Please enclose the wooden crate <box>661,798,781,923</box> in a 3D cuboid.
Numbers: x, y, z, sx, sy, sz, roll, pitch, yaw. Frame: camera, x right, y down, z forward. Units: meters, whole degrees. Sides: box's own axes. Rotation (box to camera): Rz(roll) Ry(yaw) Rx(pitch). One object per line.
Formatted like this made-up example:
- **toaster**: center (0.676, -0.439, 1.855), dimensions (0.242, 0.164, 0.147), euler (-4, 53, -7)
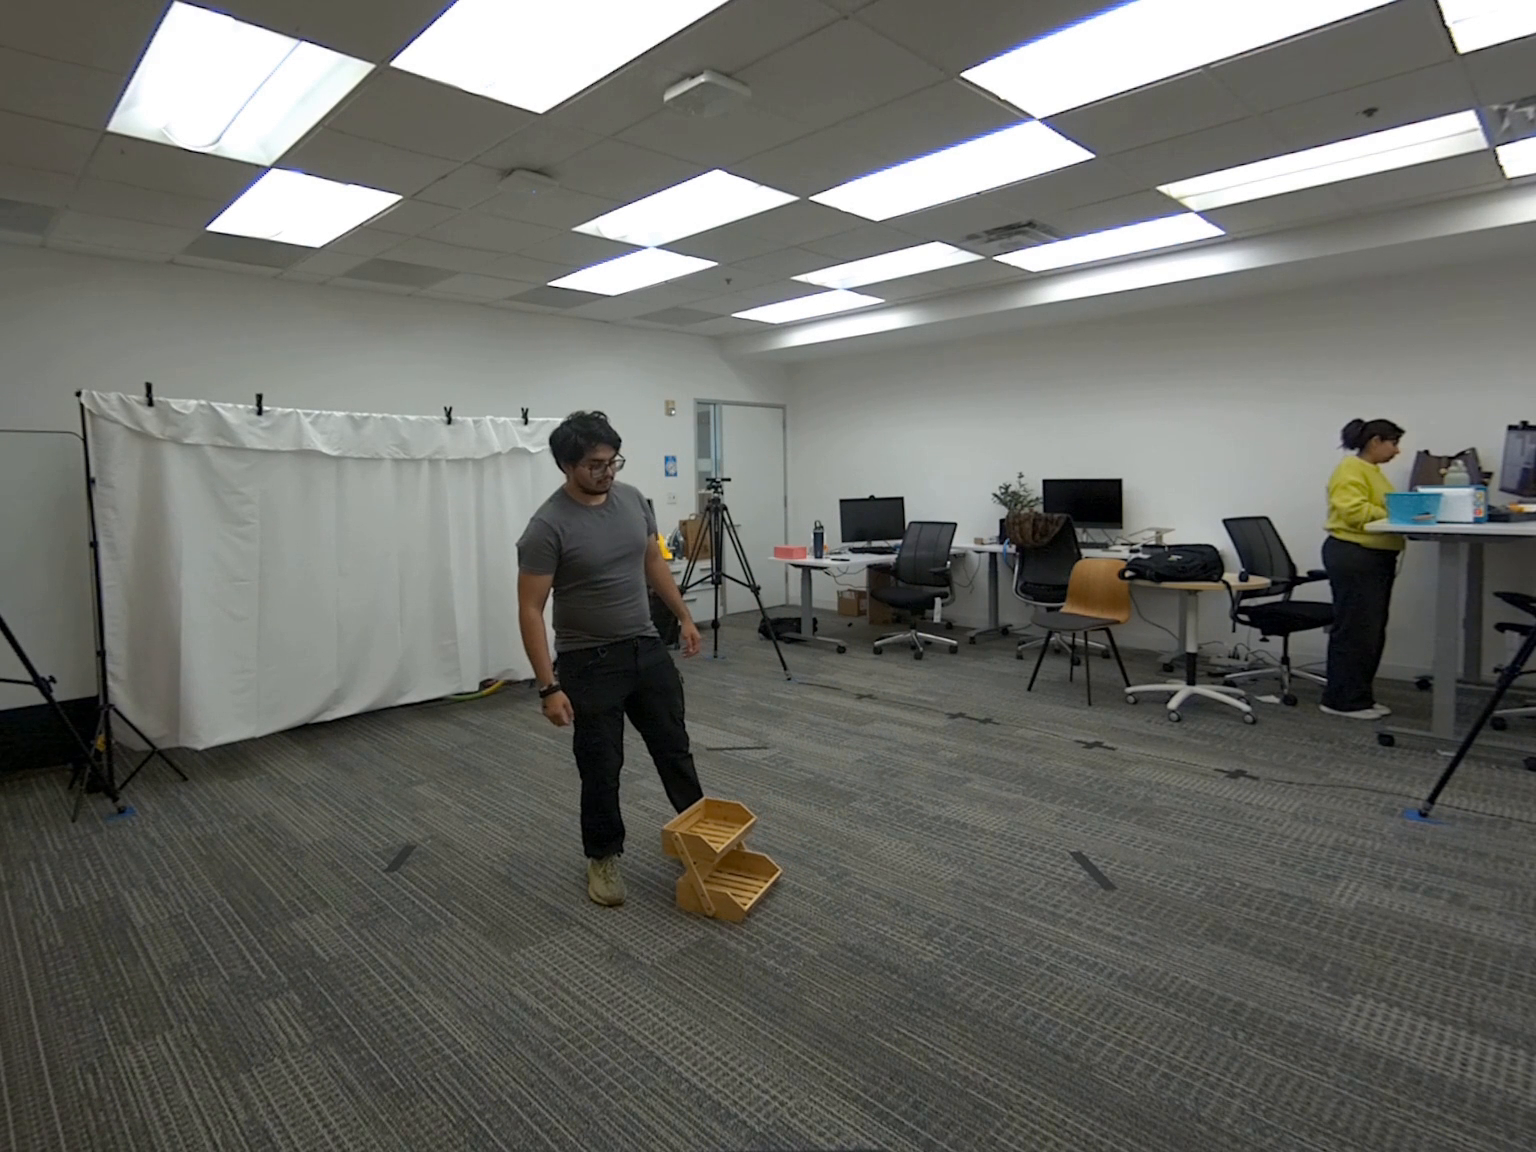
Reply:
- **wooden crate**: center (-0.146, 0.936, 2.863), dimensions (0.309, 0.272, 0.318), euler (2, 5, 25)
